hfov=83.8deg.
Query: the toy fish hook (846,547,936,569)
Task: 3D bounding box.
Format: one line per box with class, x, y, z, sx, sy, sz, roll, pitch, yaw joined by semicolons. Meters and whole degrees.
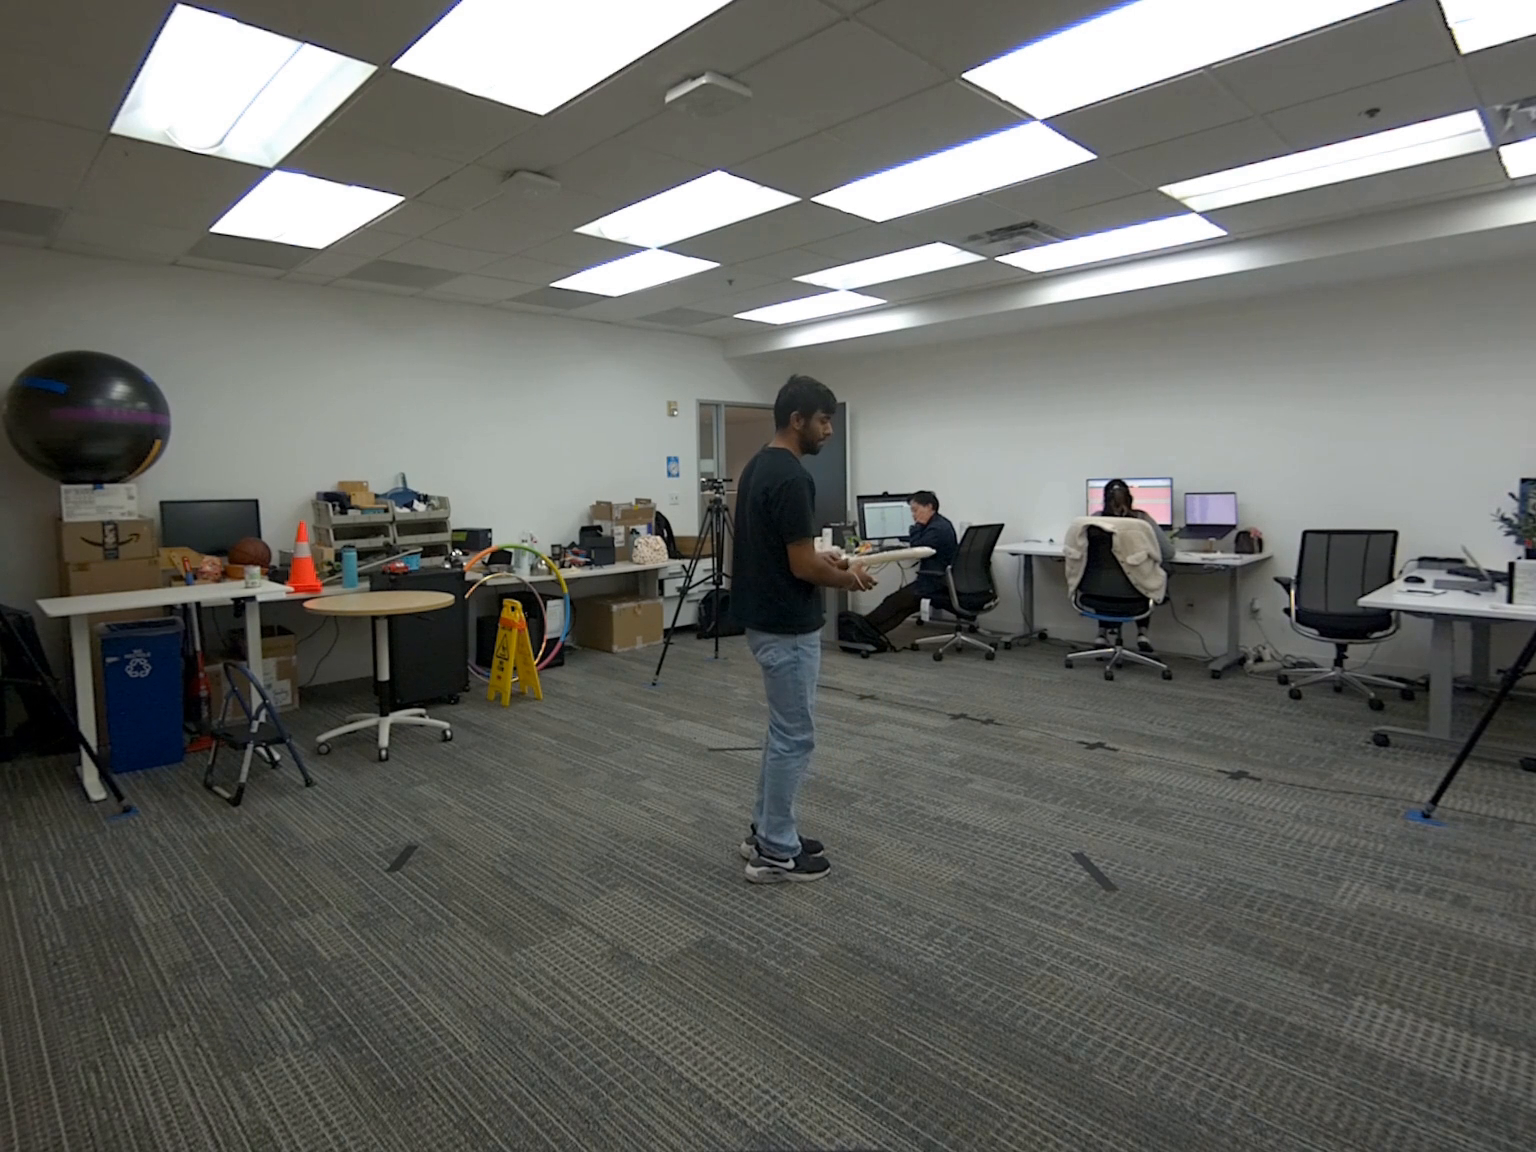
toy fish hook;0.353;-0.047;3.229;0.512;0.049;0.220;-7;-6;13
